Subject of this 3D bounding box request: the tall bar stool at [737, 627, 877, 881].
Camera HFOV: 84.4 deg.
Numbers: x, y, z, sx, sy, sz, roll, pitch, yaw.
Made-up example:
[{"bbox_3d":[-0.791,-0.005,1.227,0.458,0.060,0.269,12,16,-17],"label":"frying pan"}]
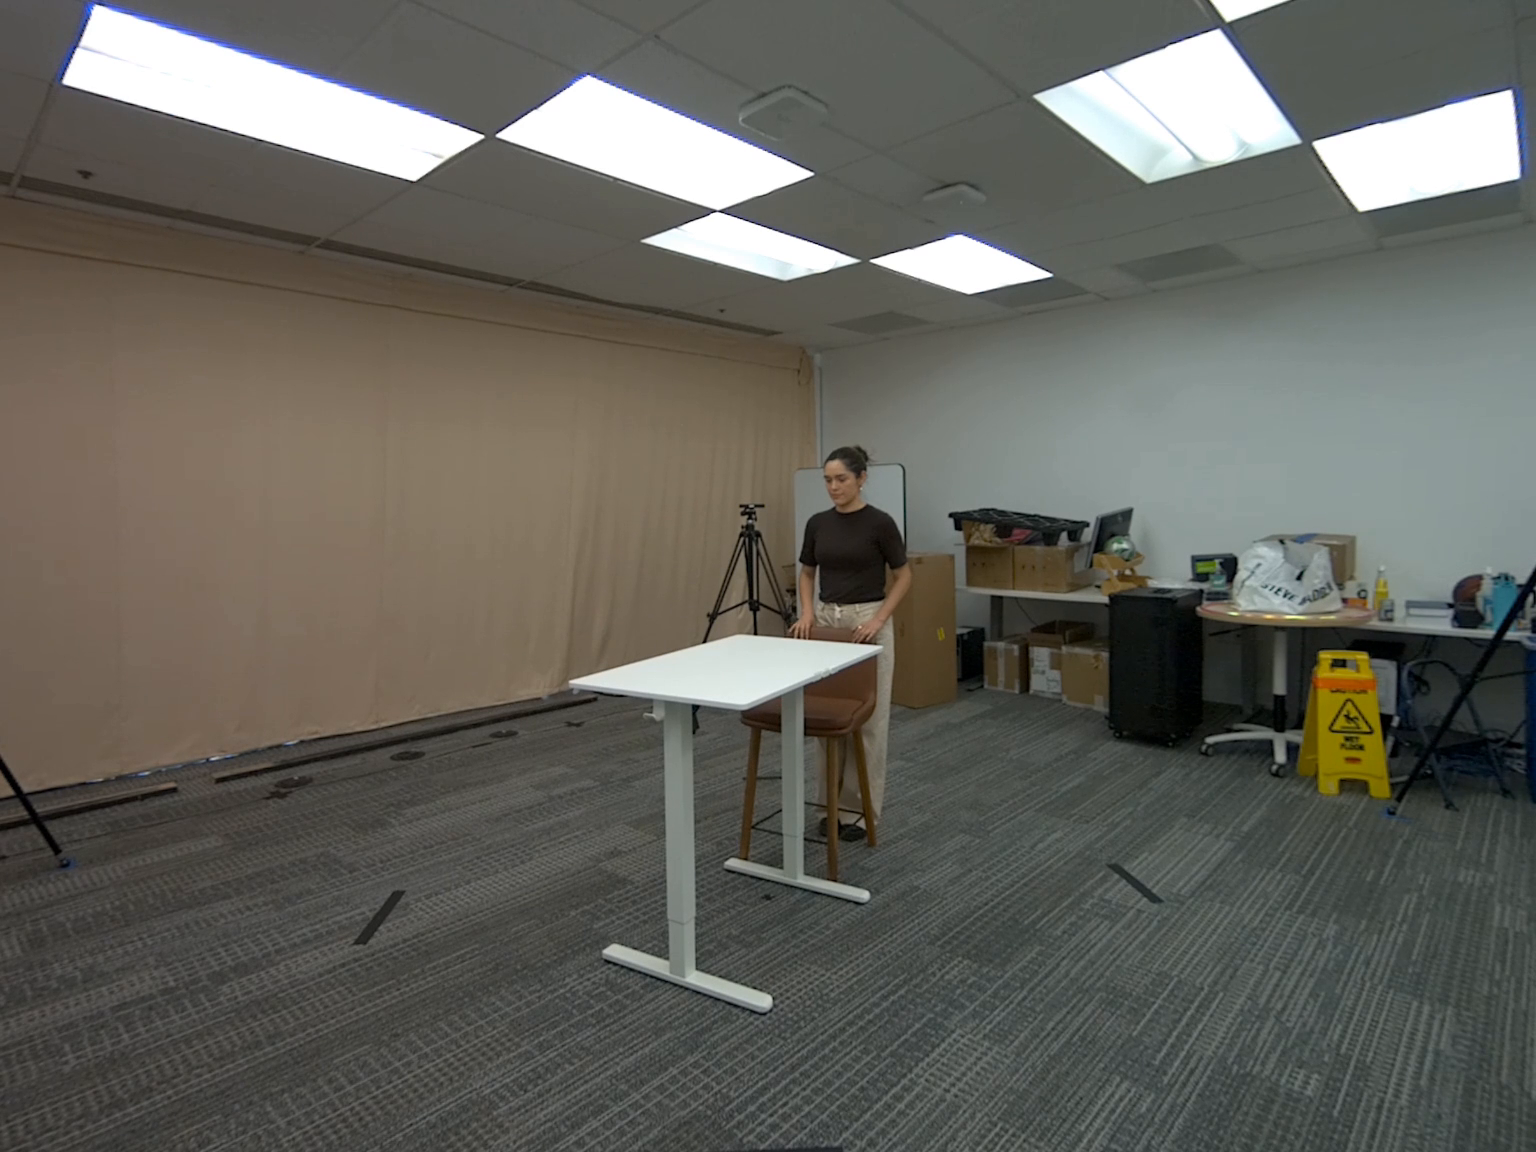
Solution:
[{"bbox_3d":[0.170,0.665,3.320,0.470,0.889,0.454,2,1,32],"label":"tall bar stool"}]
